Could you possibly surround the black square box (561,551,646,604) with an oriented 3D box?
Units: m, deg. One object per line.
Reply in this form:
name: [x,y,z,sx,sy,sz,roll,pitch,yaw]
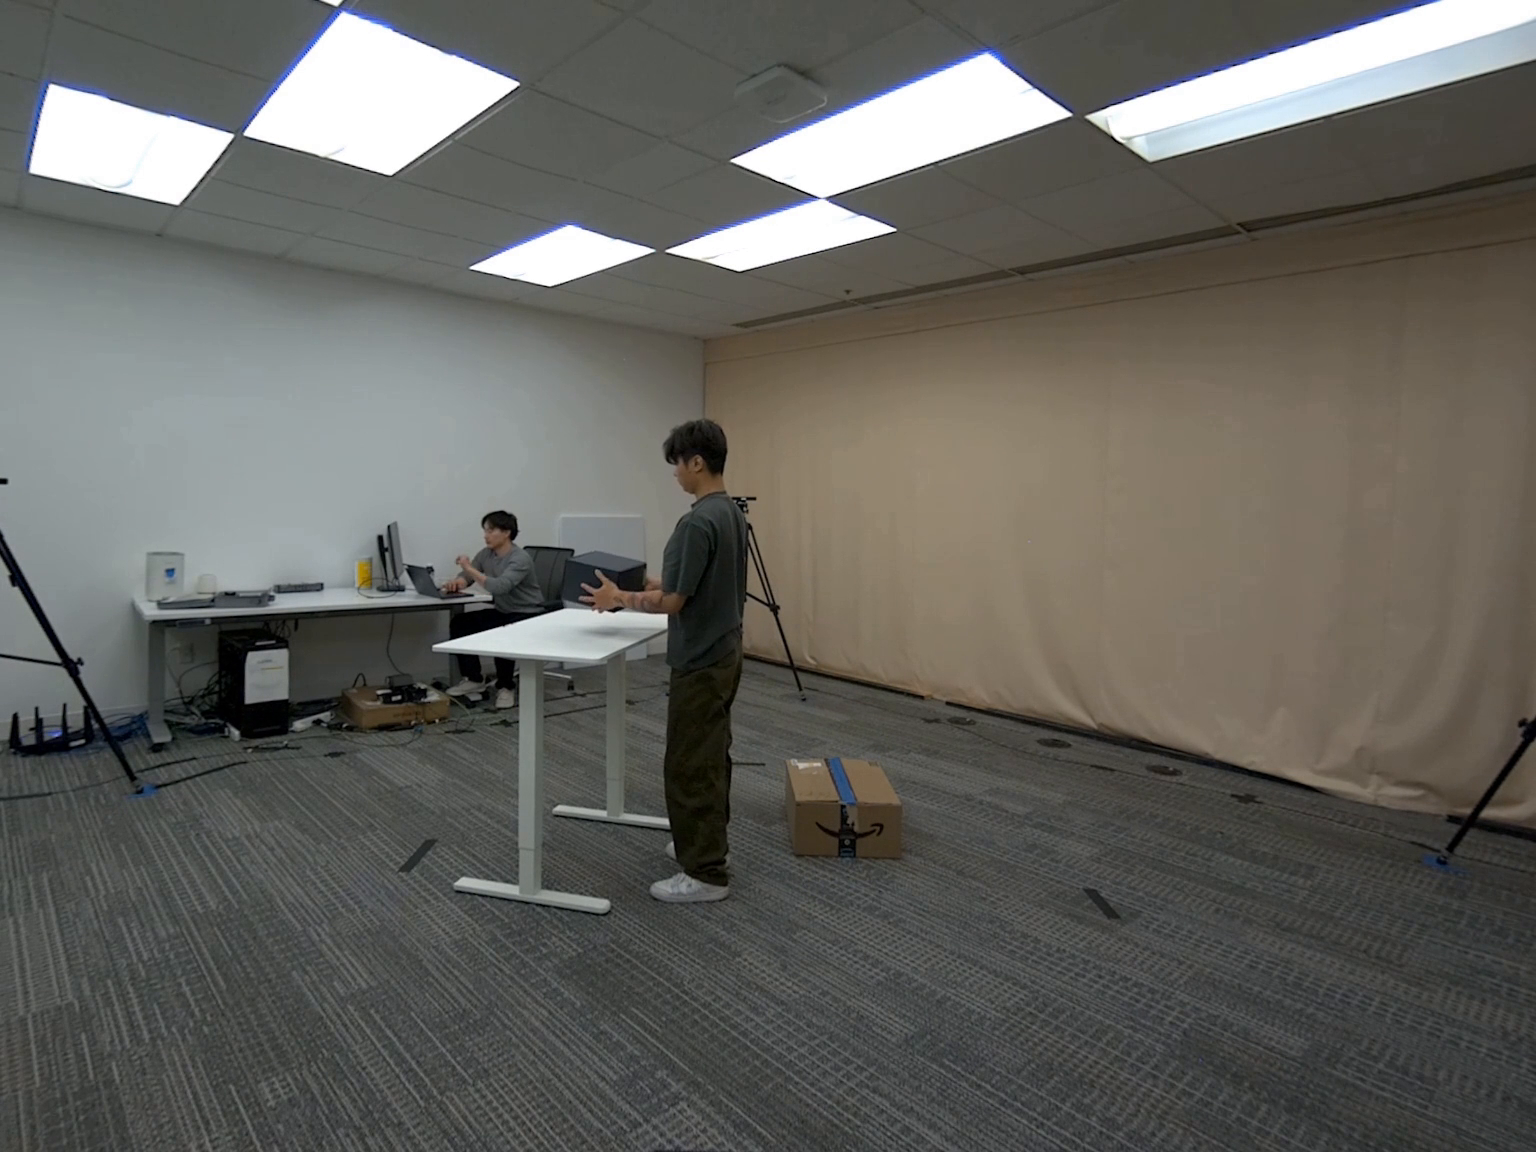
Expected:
black square box: [-0.605,0.013,3.142,0.231,0.155,0.215,11,11,17]
